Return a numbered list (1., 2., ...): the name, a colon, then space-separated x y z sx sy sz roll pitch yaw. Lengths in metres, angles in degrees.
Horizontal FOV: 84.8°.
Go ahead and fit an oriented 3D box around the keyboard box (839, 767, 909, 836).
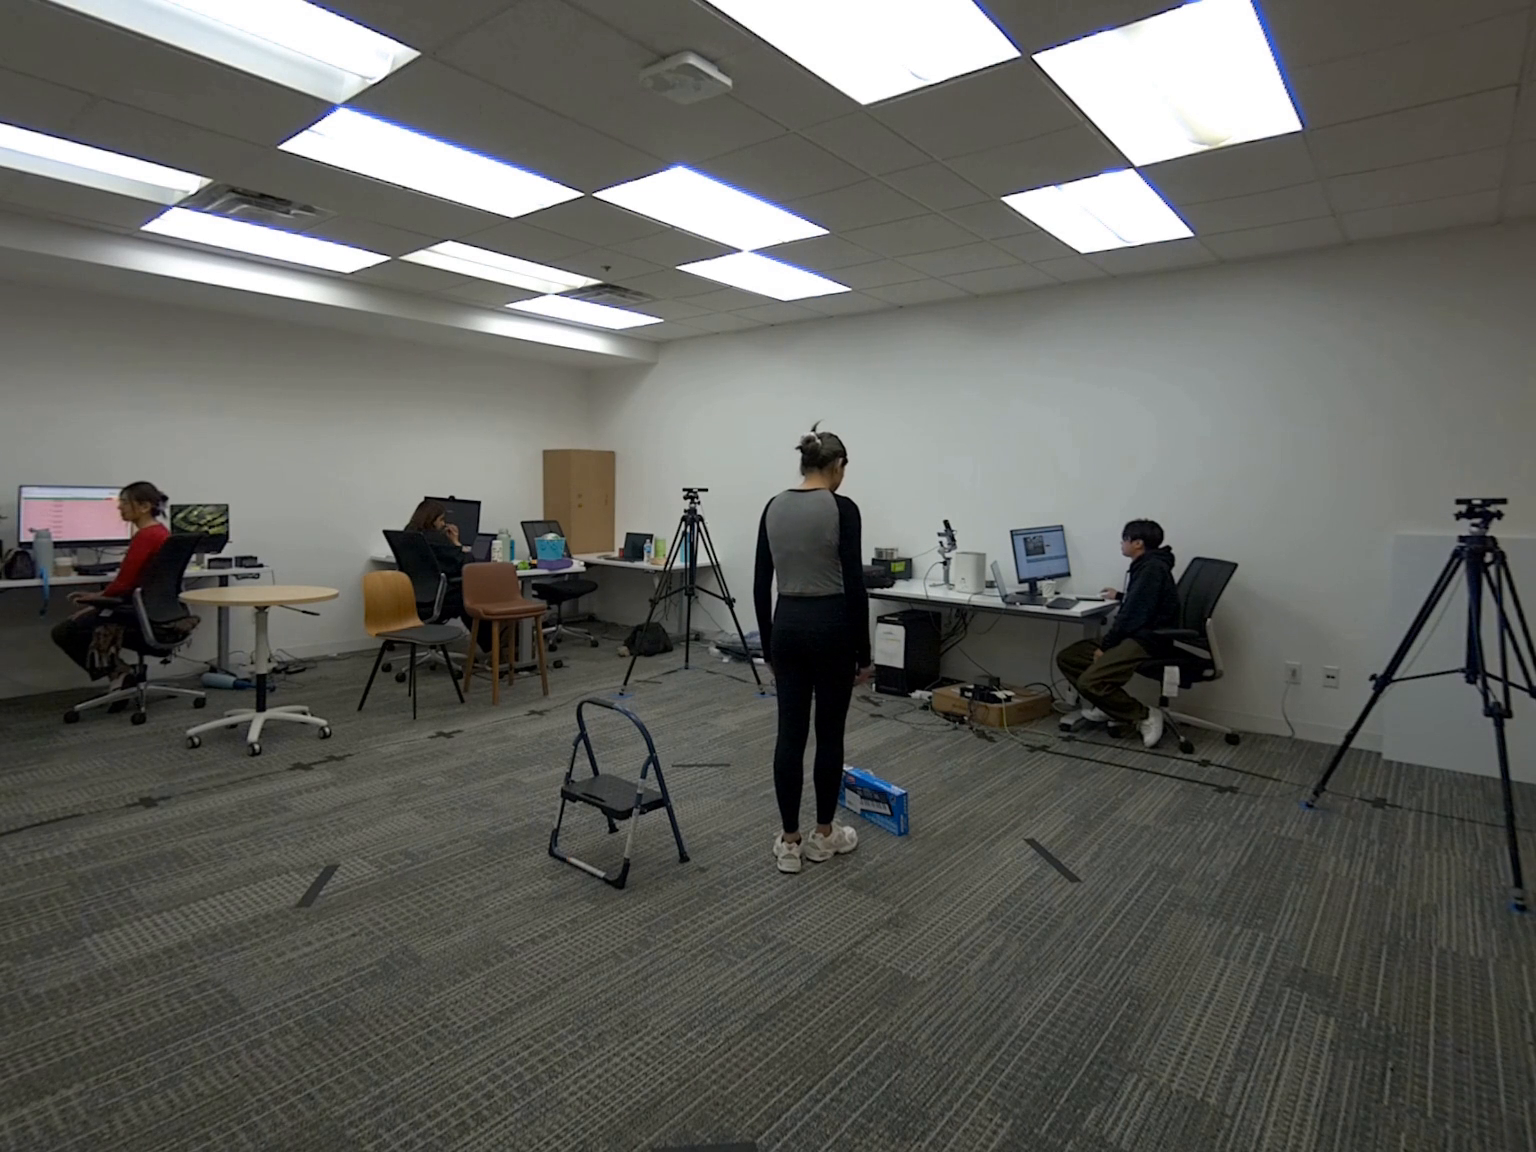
1. keyboard box: 0.422 0.944 3.649 0.057 0.175 0.451 -6 8 -32
